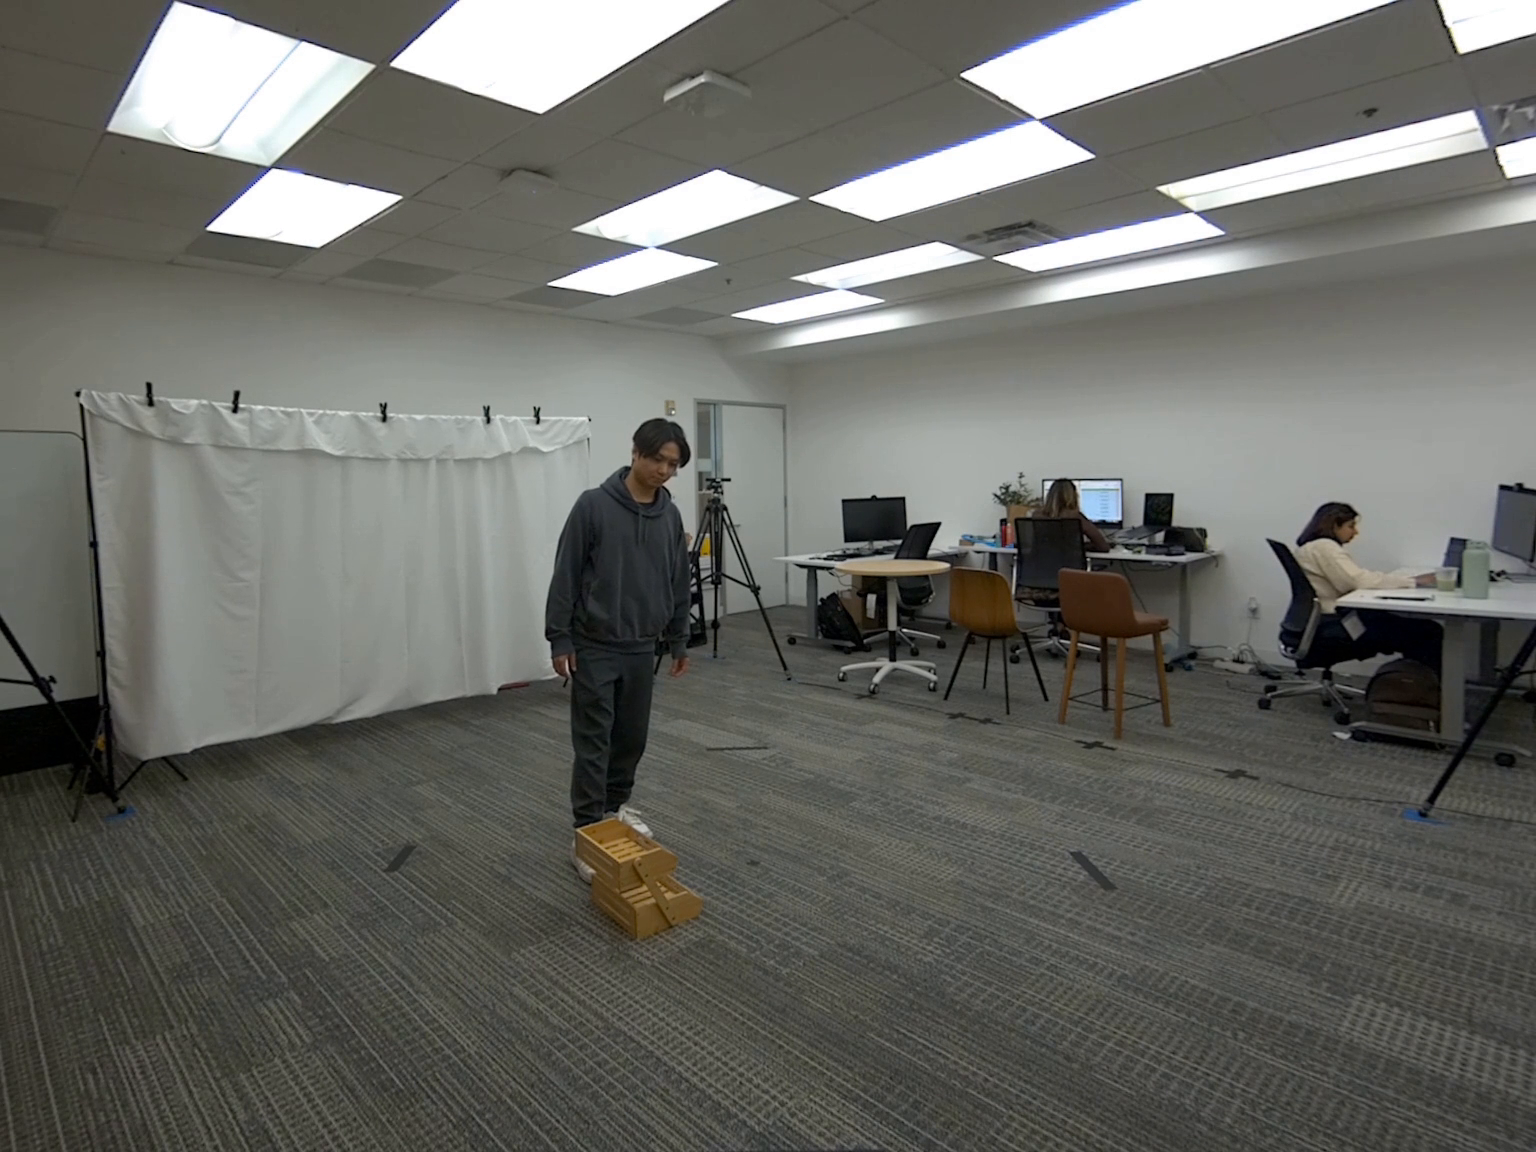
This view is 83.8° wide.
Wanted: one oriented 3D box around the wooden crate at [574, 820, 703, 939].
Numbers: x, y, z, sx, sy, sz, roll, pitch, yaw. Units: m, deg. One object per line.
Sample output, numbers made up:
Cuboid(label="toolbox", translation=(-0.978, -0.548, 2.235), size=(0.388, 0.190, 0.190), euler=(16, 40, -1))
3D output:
Cuboid(label="wooden crate", translation=(-0.413, 0.954, 2.772), size=(0.294, 0.272, 0.334), euler=(-6, 8, -37))
